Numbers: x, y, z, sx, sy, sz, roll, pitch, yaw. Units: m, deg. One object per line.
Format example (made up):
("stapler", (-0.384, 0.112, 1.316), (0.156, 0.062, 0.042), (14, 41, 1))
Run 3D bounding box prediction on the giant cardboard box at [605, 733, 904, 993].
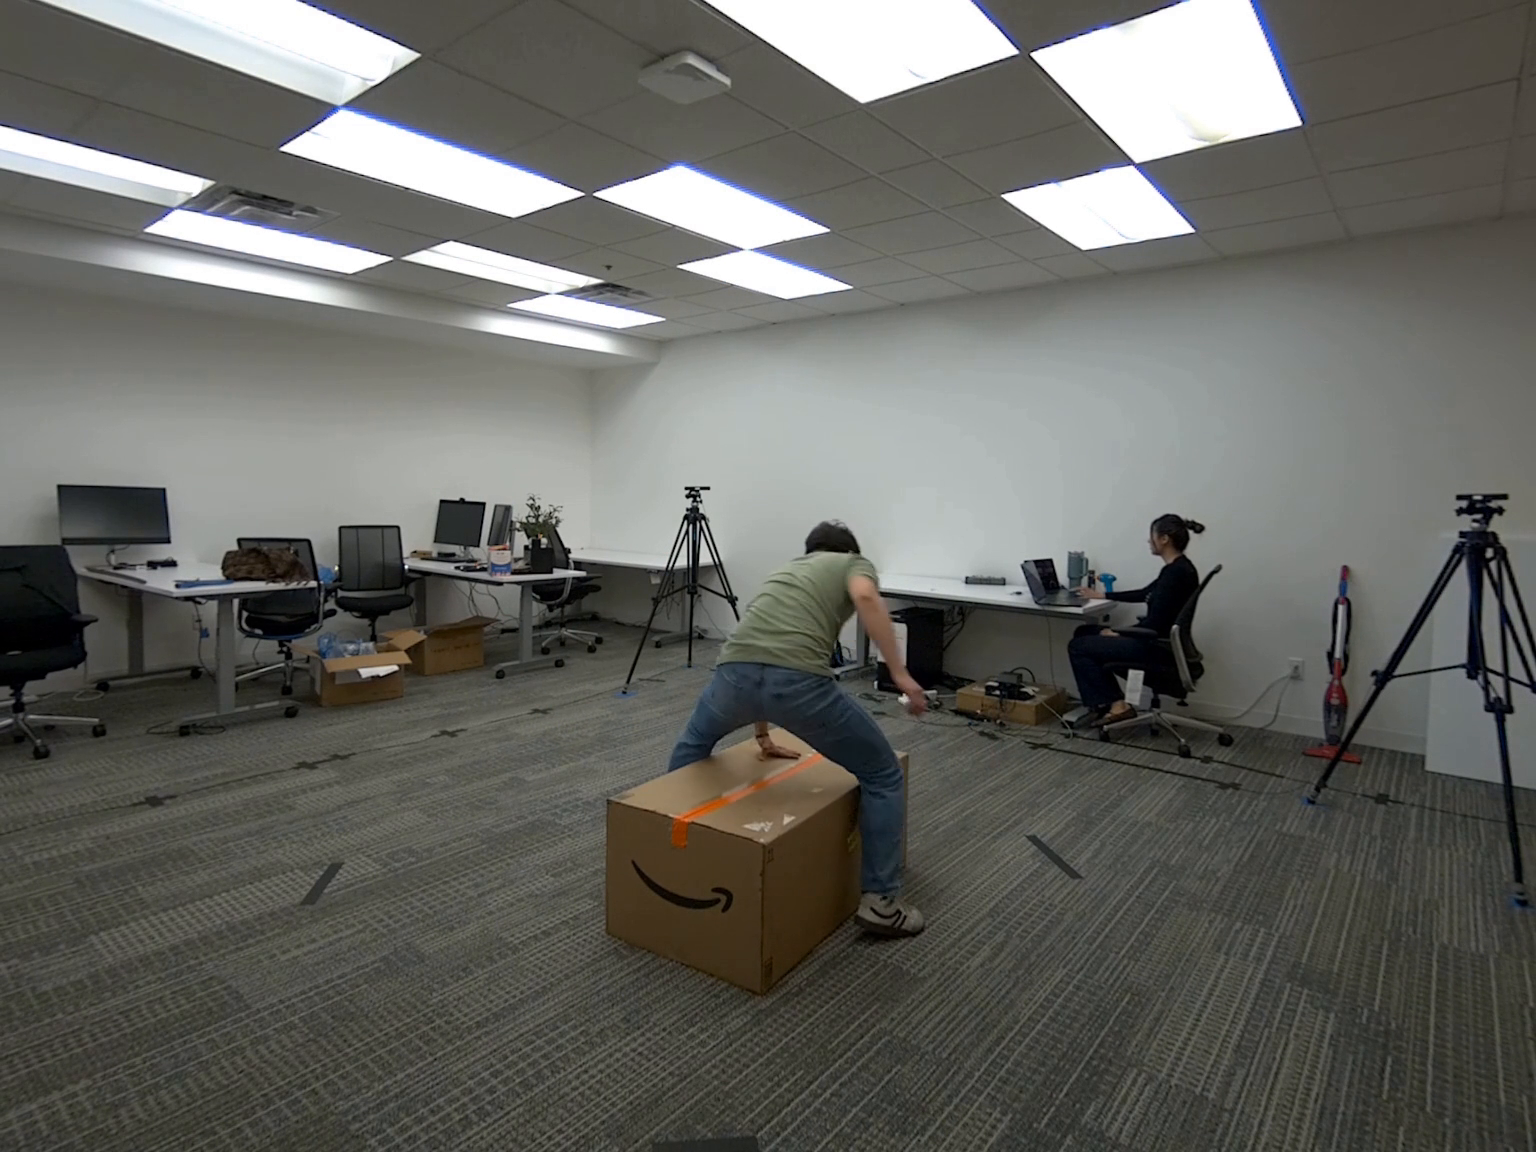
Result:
("giant cardboard box", (-0.005, 0.879, 2.887), (0.595, 0.425, 0.998), (4, 6, 32))
